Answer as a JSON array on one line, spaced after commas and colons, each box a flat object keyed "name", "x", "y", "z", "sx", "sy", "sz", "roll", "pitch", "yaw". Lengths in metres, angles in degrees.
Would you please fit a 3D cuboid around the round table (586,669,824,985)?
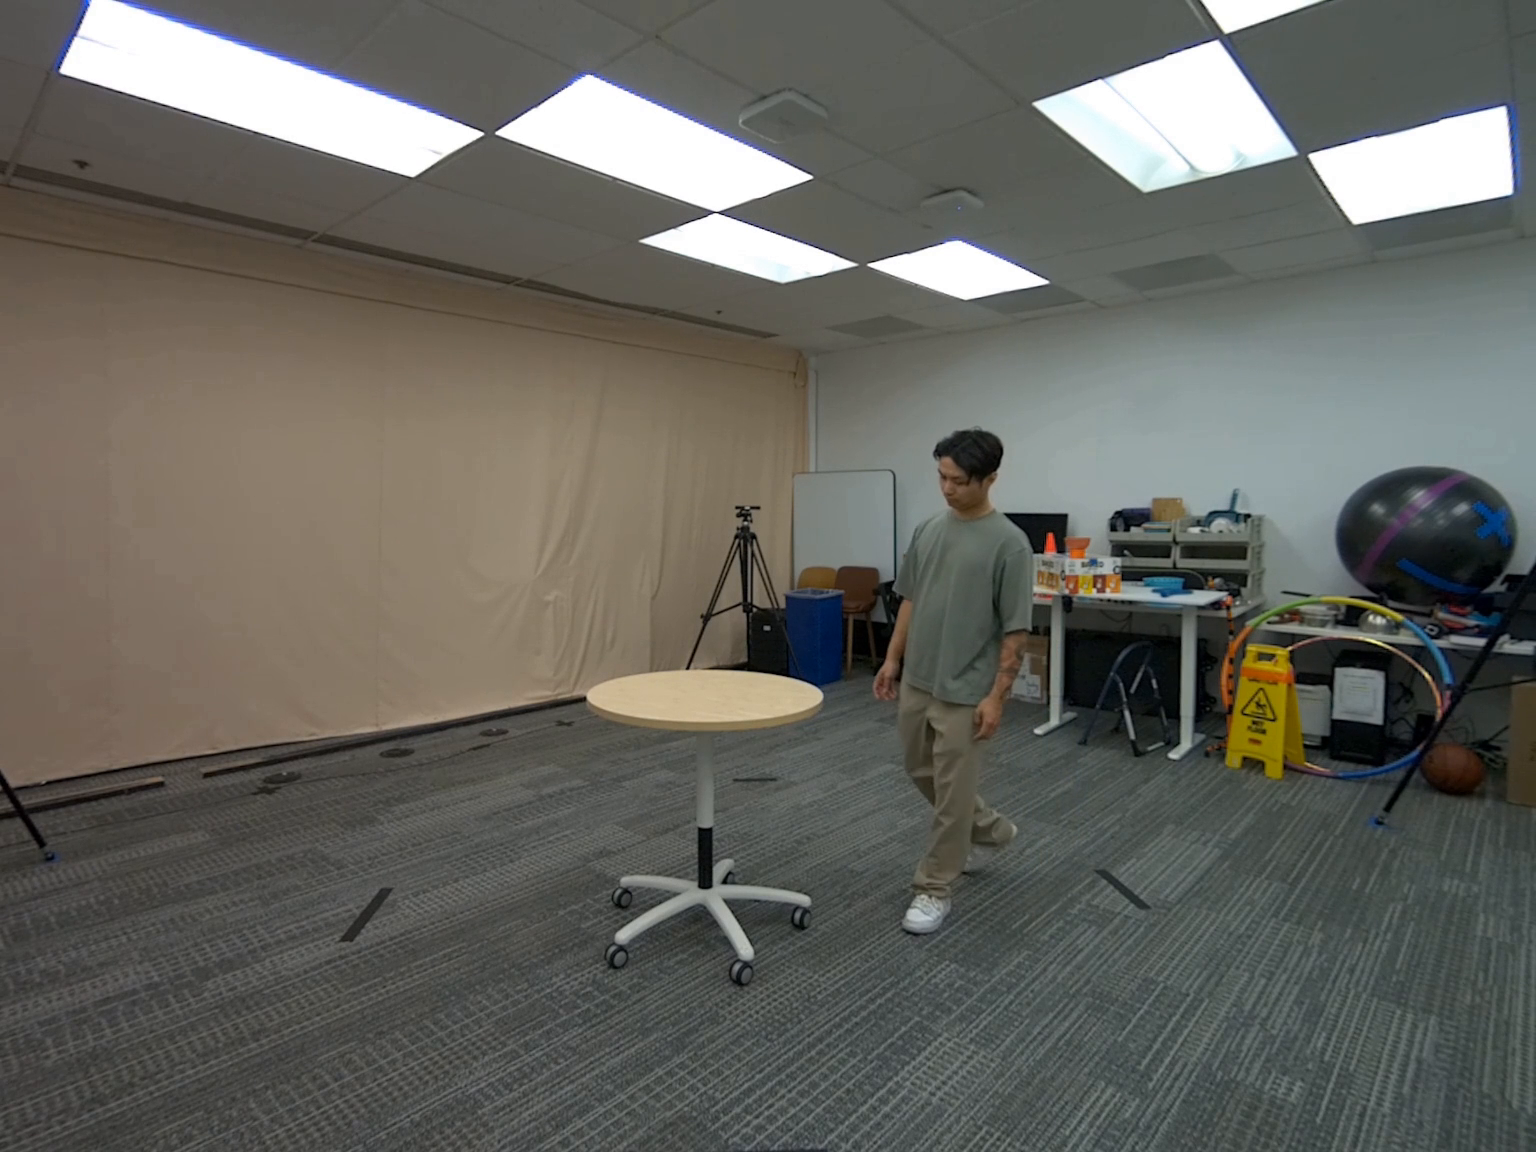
[{"name": "round table", "x": -0.201, "y": 0.773, "z": 2.773, "sx": 0.784, "sy": 0.785, "sz": 0.787, "roll": 1, "pitch": 3, "yaw": -2}]
